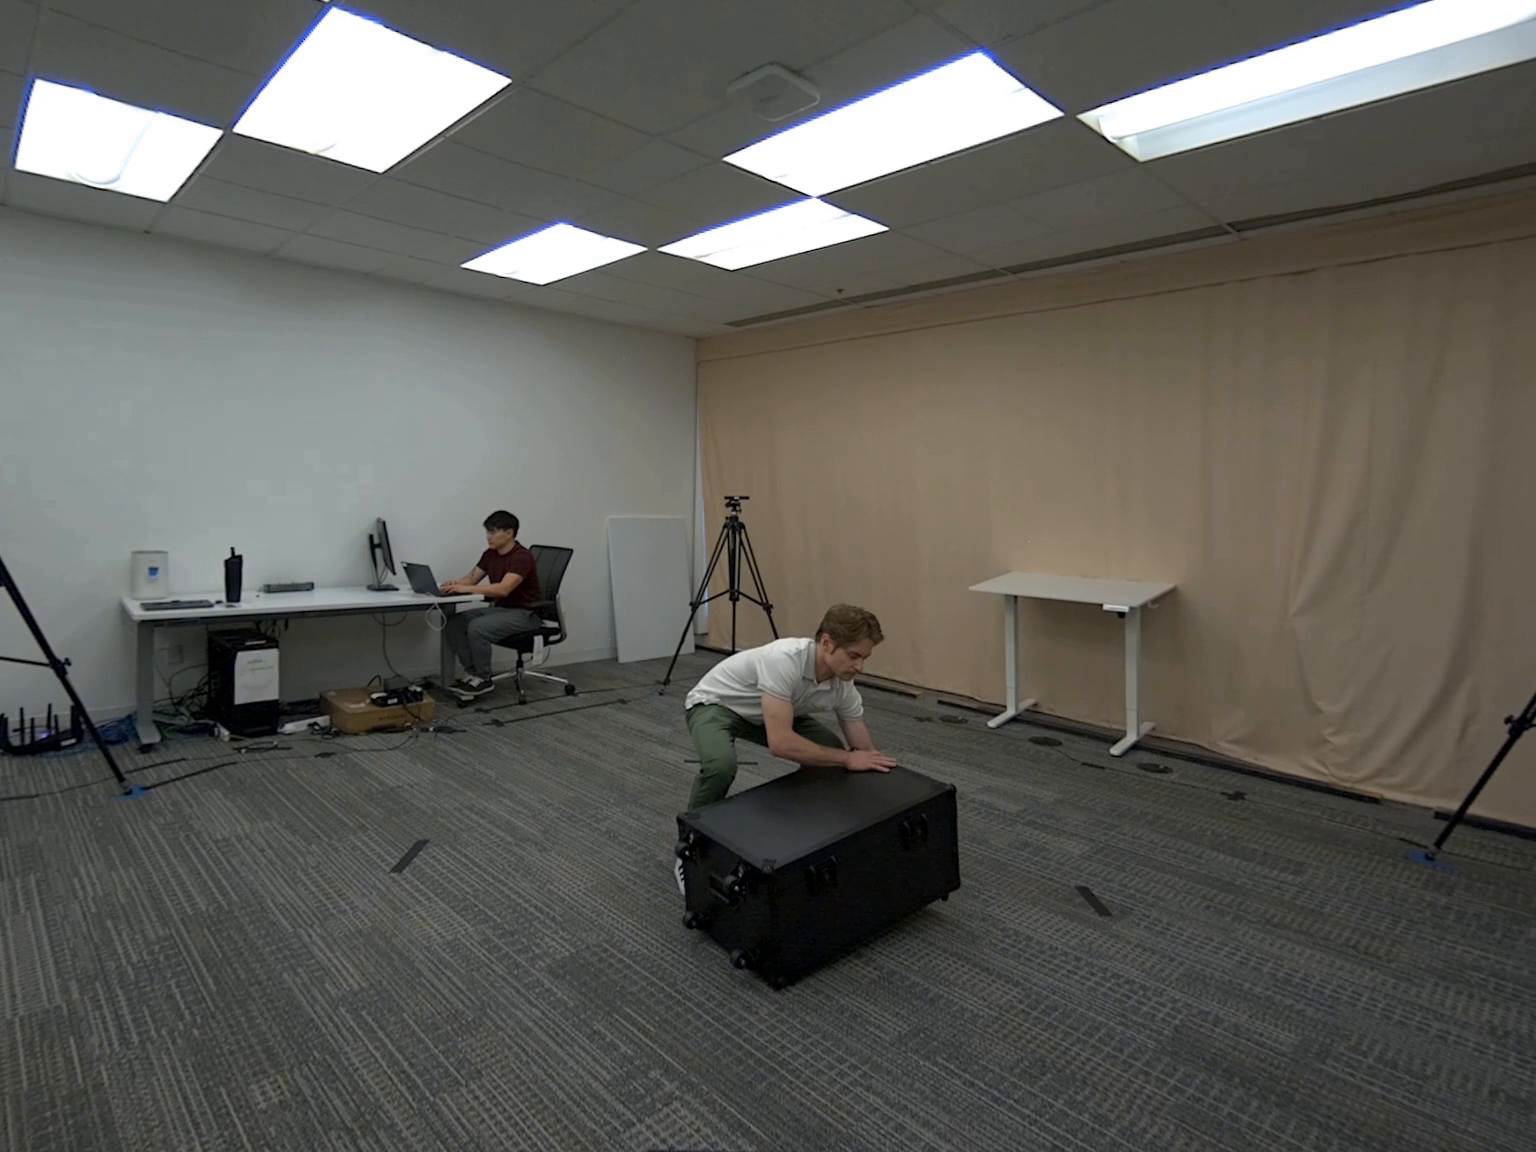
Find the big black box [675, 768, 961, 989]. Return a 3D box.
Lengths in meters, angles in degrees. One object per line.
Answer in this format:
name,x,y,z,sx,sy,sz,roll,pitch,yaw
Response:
big black box,0.139,0.916,2.729,0.853,0.382,0.537,-10,12,-34
